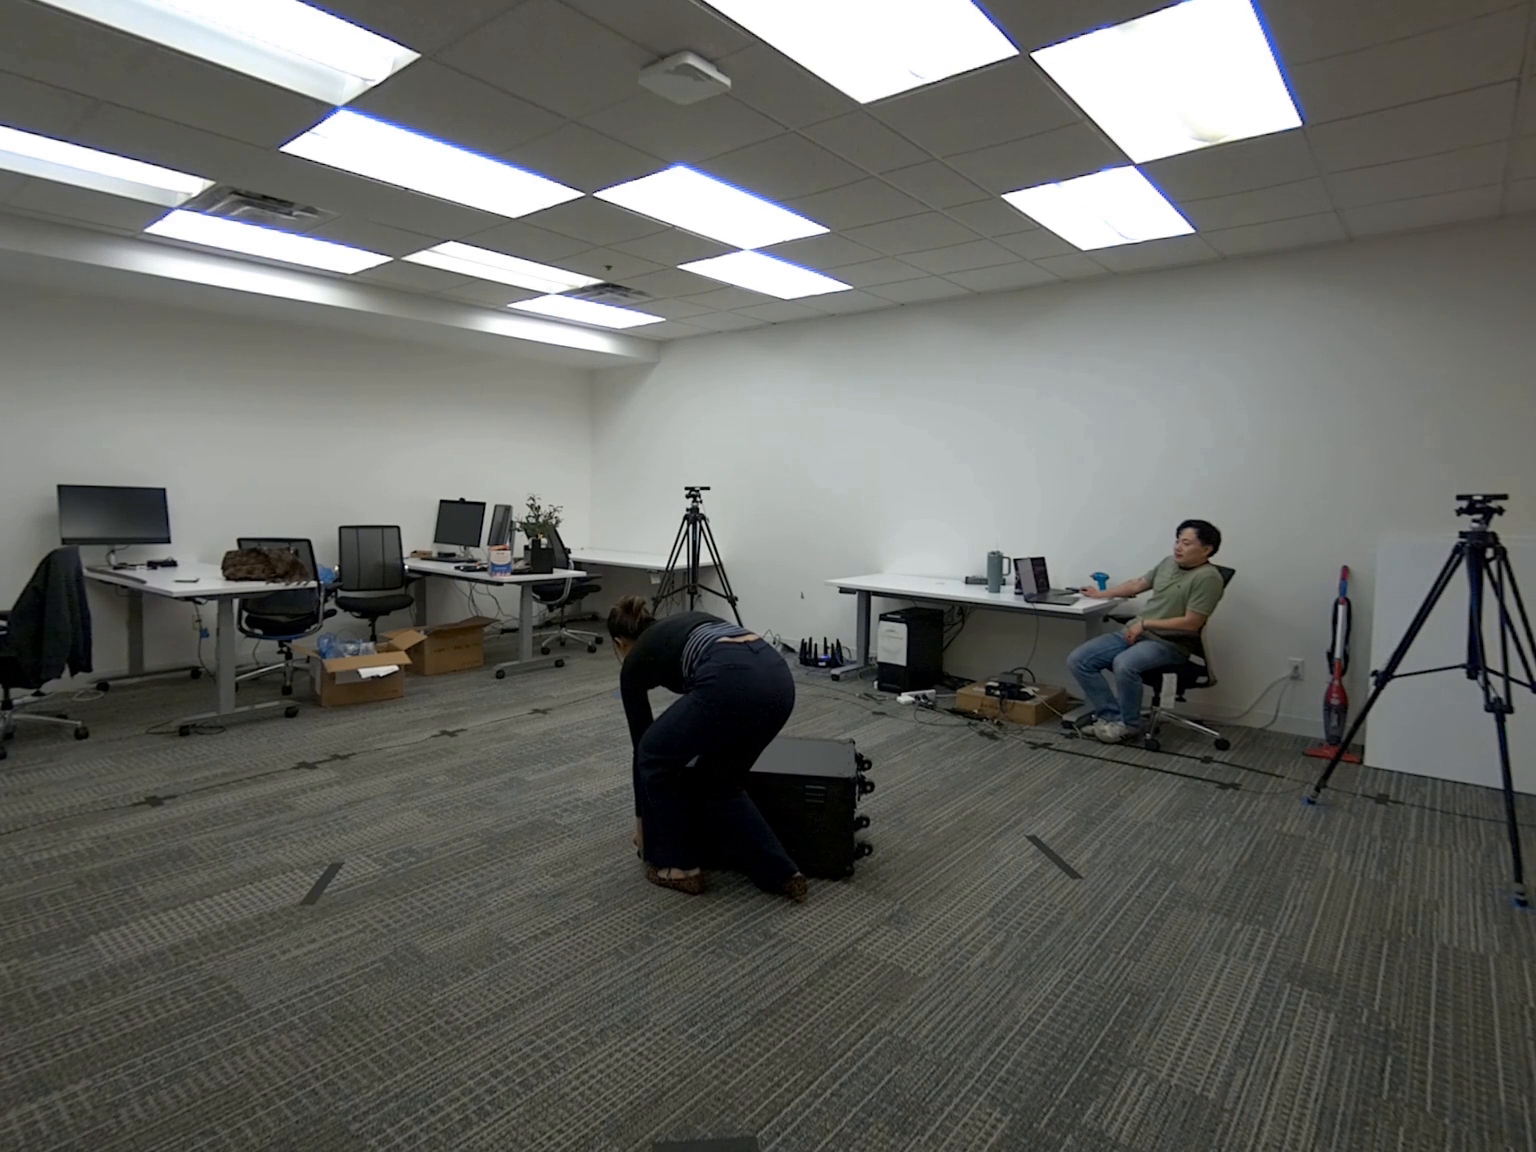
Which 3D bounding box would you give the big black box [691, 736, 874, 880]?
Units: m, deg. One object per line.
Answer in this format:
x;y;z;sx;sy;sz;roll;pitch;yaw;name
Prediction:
-0.034;0.851;3.280;0.869;0.395;0.518;0;4;7;big black box
